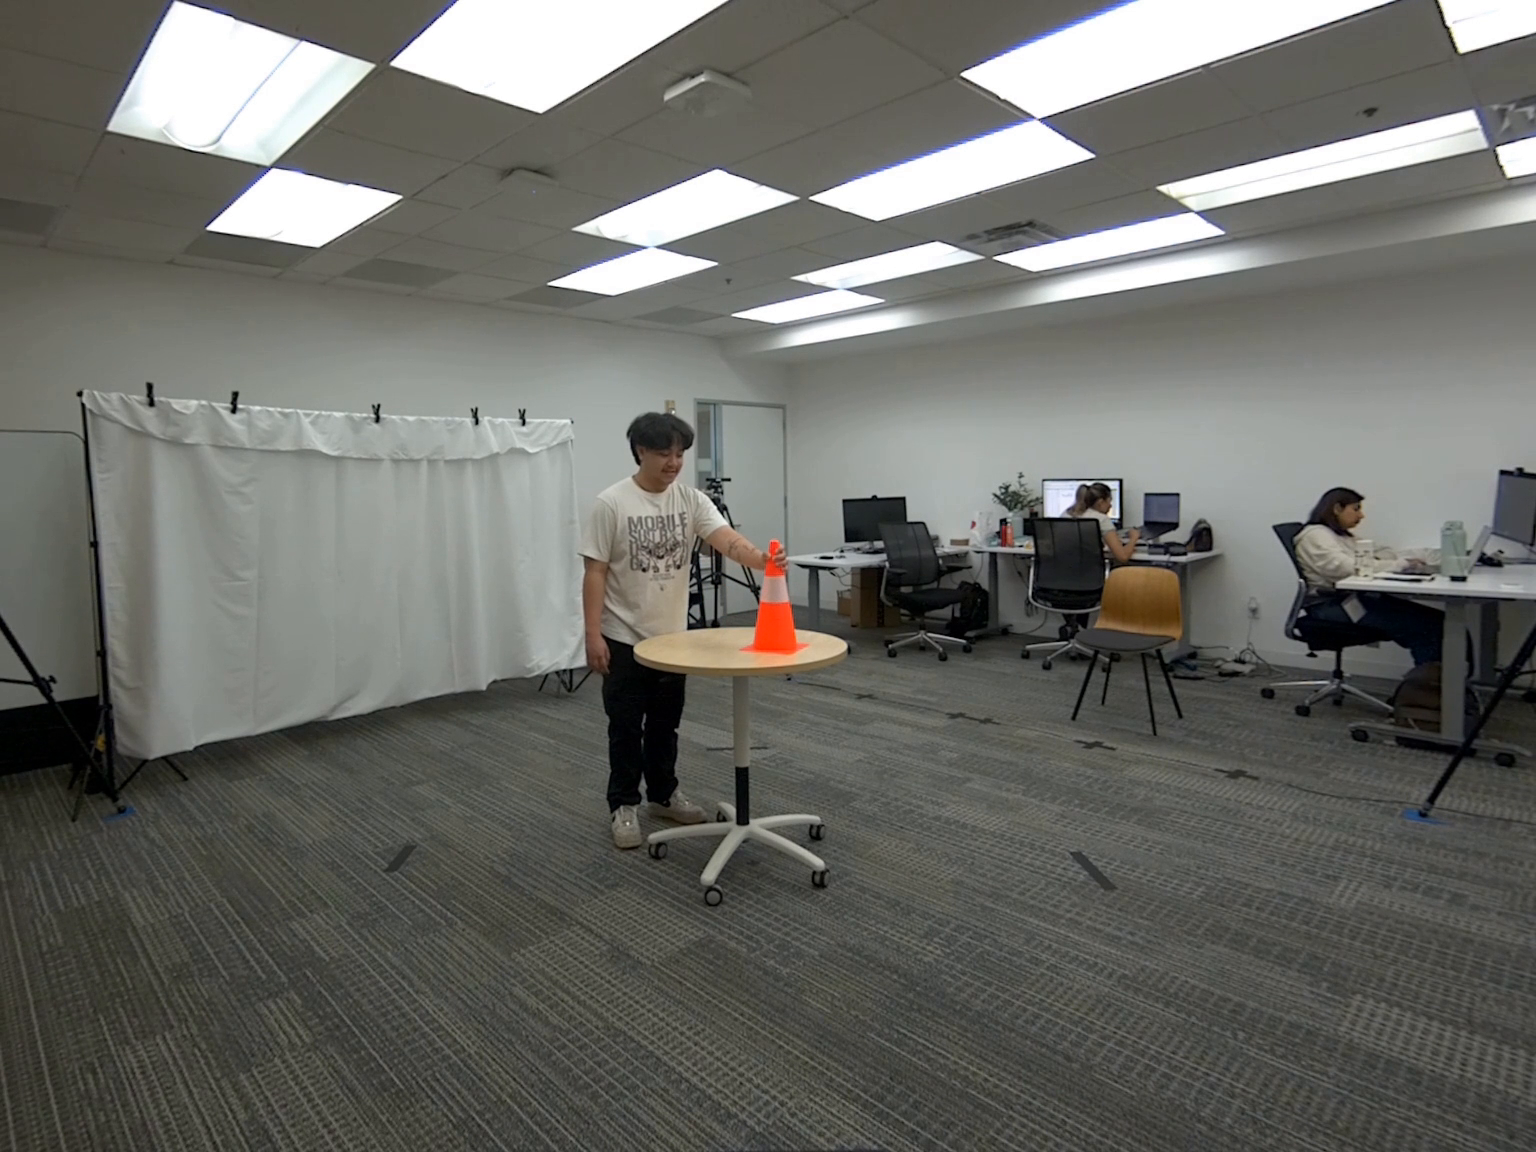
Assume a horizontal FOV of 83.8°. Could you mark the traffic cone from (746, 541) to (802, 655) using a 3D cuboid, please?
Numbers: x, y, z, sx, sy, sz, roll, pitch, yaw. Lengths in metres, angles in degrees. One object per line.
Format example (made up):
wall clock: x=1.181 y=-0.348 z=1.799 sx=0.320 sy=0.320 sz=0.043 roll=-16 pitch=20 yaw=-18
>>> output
traffic cone: x=0.024 y=0.068 z=3.009 sx=0.207 sy=0.382 sz=0.202 roll=0 pitch=5 yaw=21
